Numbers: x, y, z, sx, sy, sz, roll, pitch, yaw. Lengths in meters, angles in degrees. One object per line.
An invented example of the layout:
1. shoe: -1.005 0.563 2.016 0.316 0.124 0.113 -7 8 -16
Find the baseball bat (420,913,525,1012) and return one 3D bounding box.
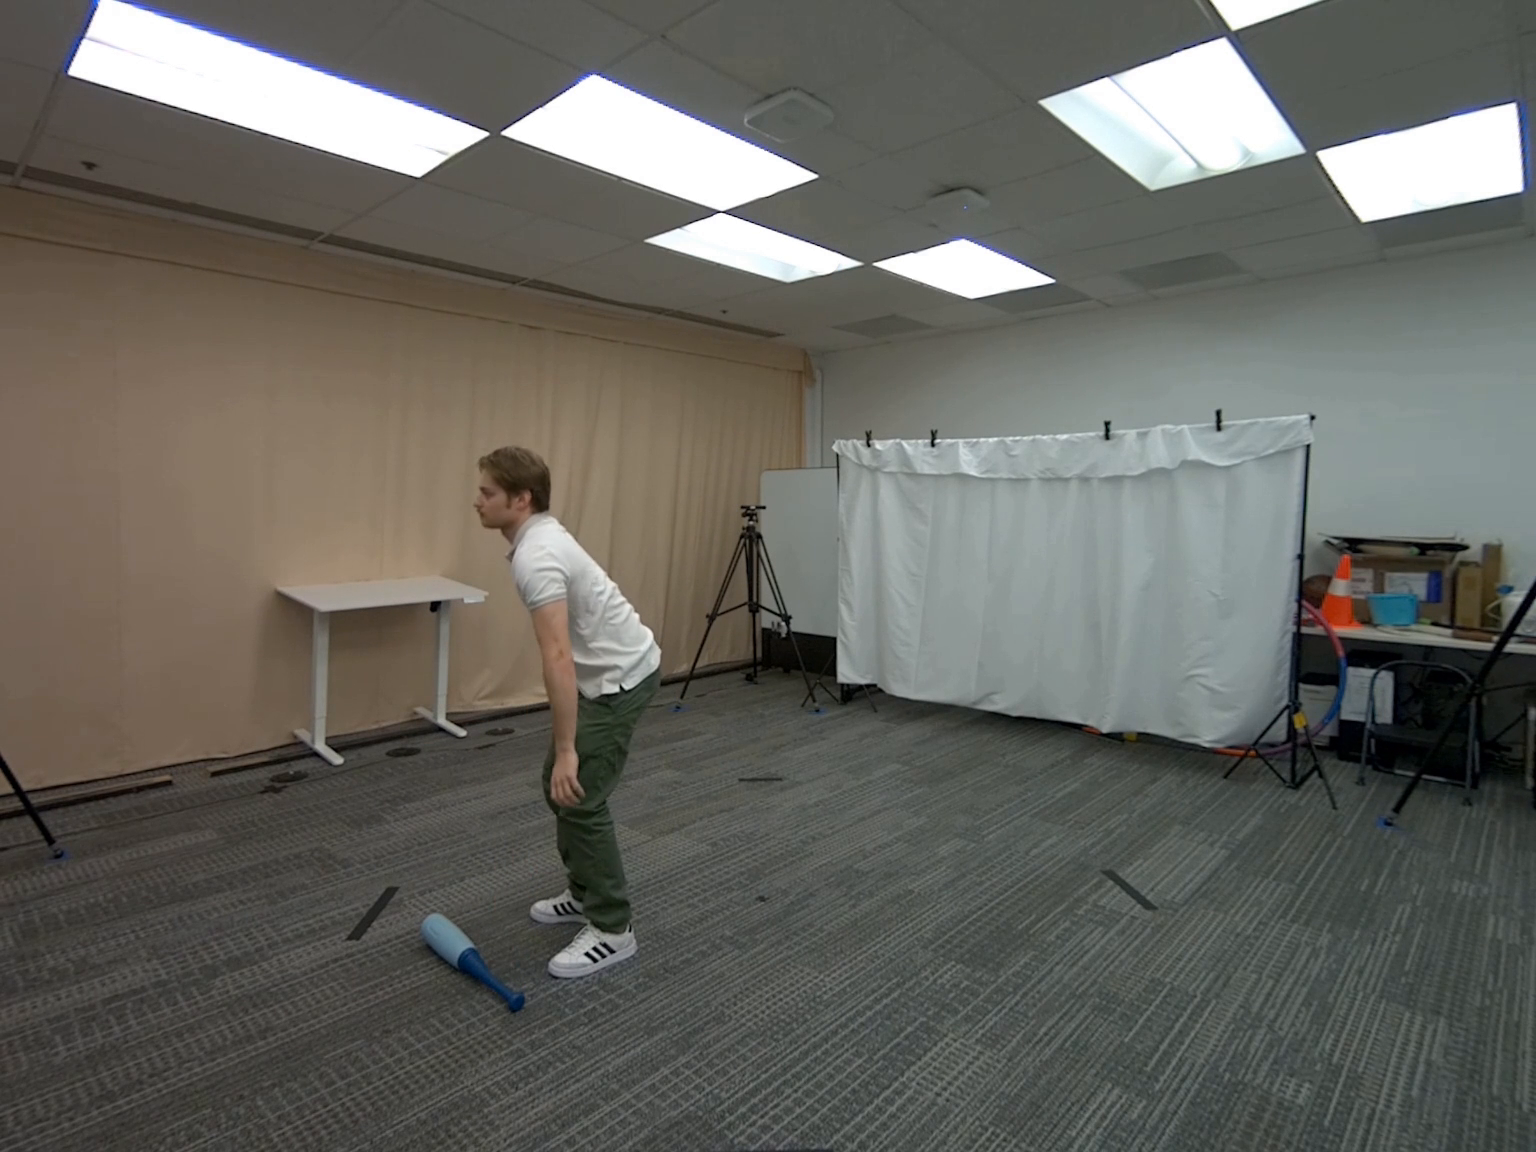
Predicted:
1. baseball bat: -0.888 1.156 2.511 0.086 0.089 0.562 -4 8 -44
